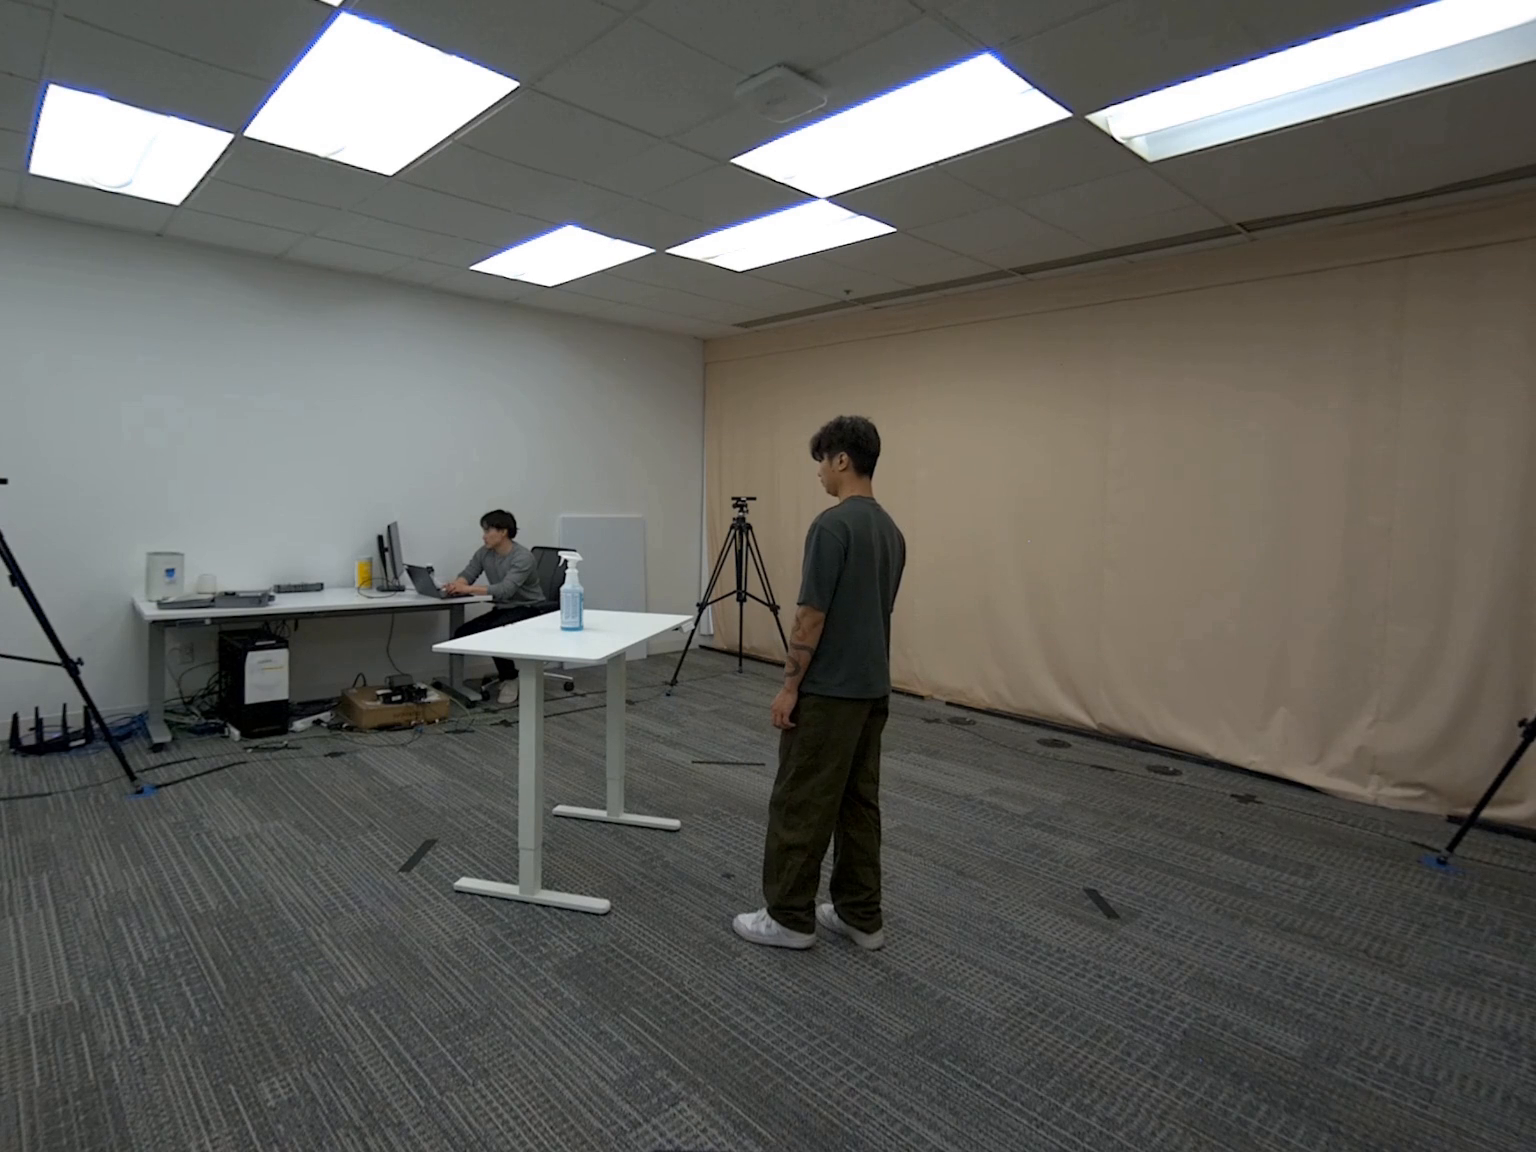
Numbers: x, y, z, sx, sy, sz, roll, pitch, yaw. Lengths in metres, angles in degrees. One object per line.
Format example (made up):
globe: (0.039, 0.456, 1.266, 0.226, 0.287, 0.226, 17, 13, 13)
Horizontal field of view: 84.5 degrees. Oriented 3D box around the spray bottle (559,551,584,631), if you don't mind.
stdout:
spray bottle: (-0.746, 0.057, 3.180, 0.092, 0.296, 0.085, 3, 4, 28)
